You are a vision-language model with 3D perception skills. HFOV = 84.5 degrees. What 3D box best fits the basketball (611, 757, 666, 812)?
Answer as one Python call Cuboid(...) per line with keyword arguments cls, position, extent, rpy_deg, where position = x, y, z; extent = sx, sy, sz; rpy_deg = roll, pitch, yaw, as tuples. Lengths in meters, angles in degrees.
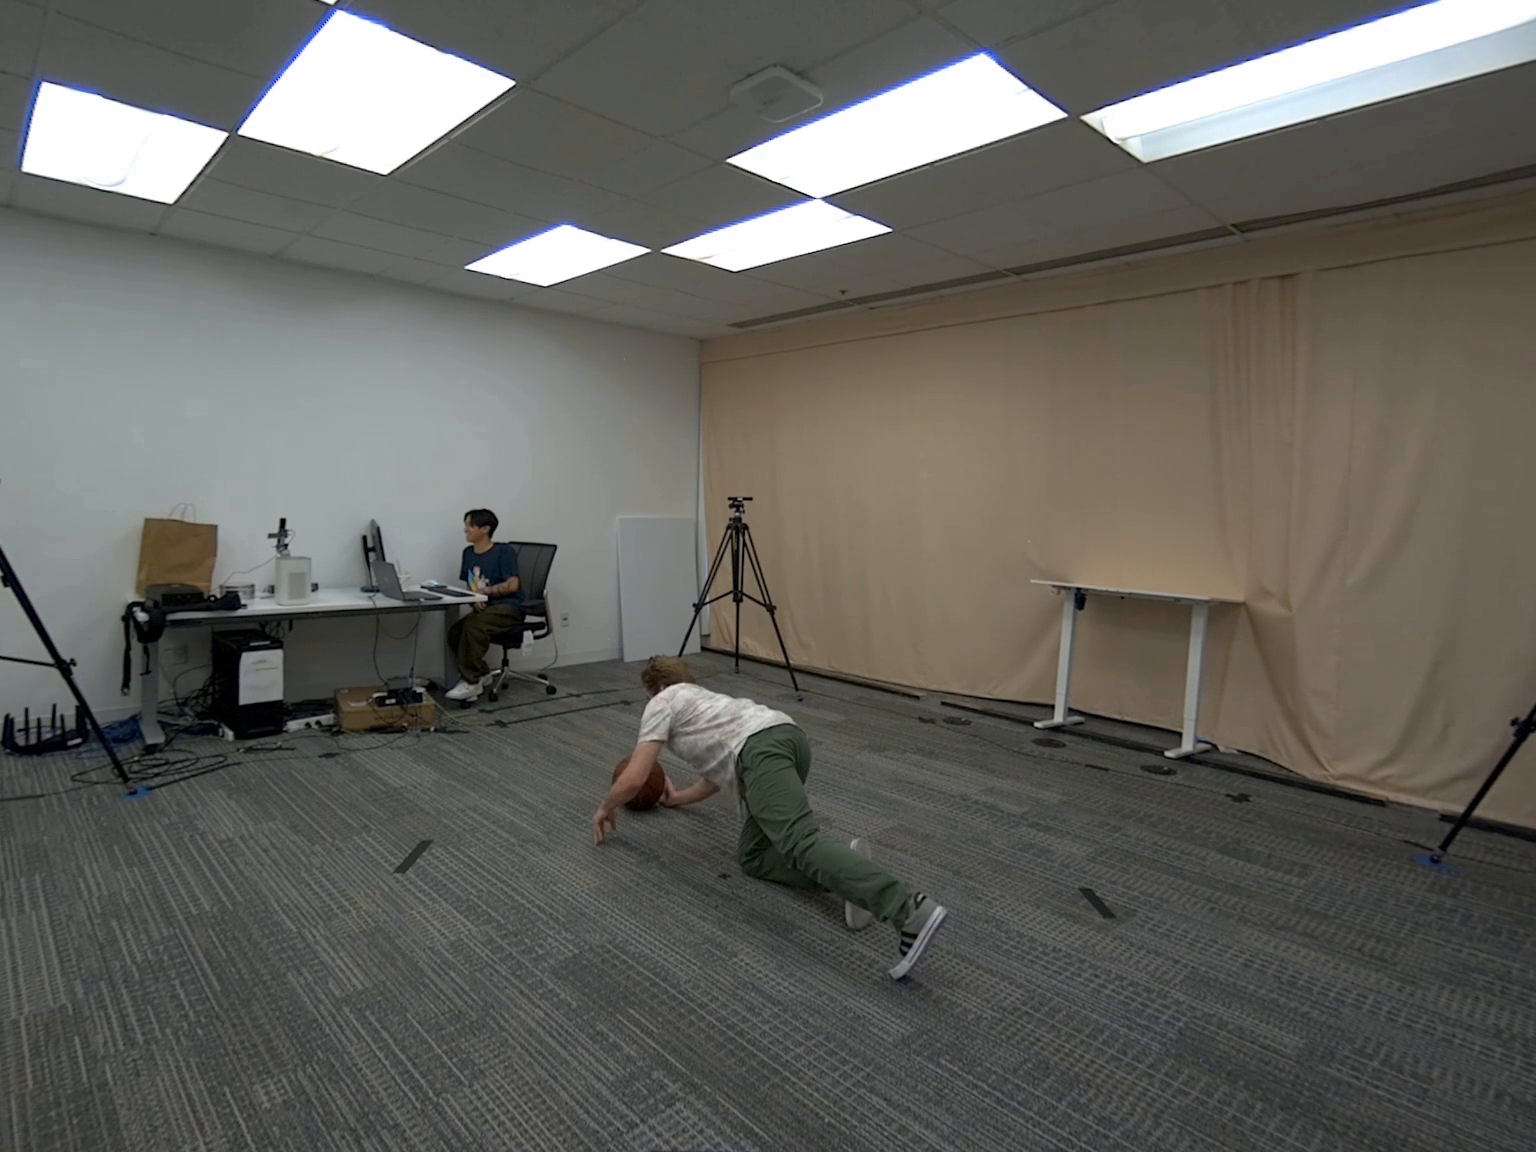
Cuboid(cls="basketball", position=(-0.590, 0.917, 3.774), extent=(0.236, 0.235, 0.237), rpy_deg=(1, 4, -1))
